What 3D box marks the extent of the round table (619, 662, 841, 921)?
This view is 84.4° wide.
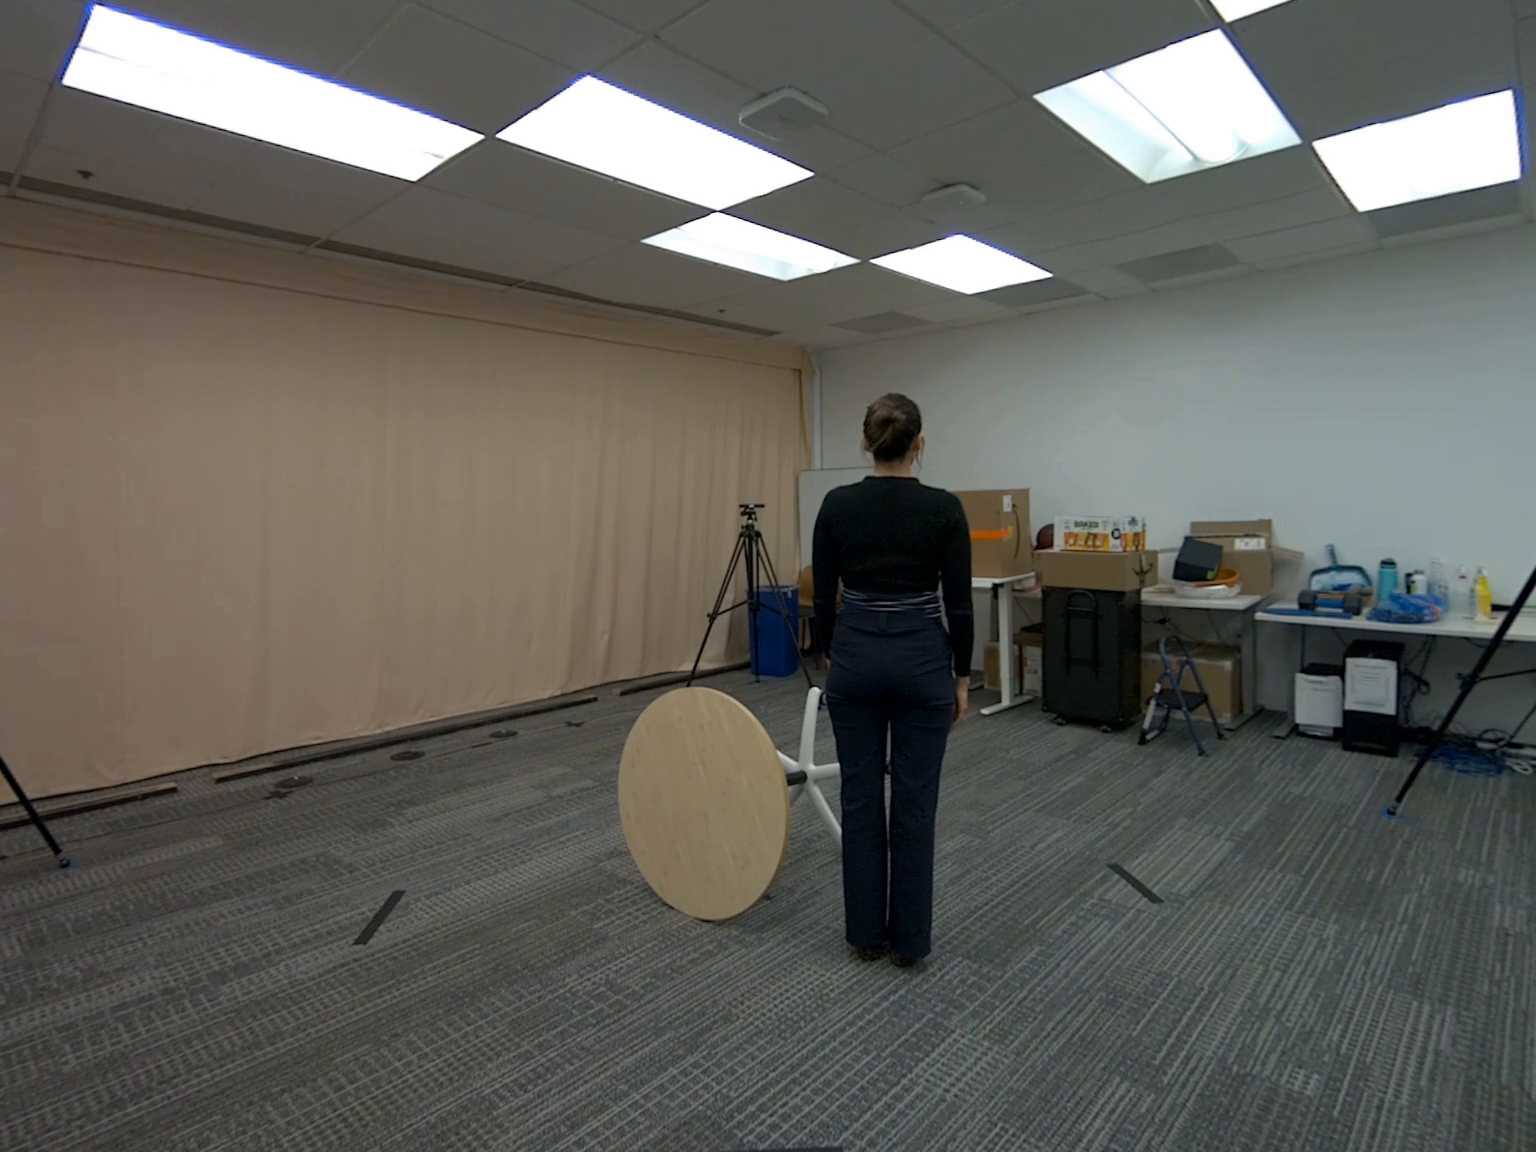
[{"bbox_3d":[-0.008,0.795,3.180,0.789,0.765,0.767,2,-3,39],"label":"round table"}]
